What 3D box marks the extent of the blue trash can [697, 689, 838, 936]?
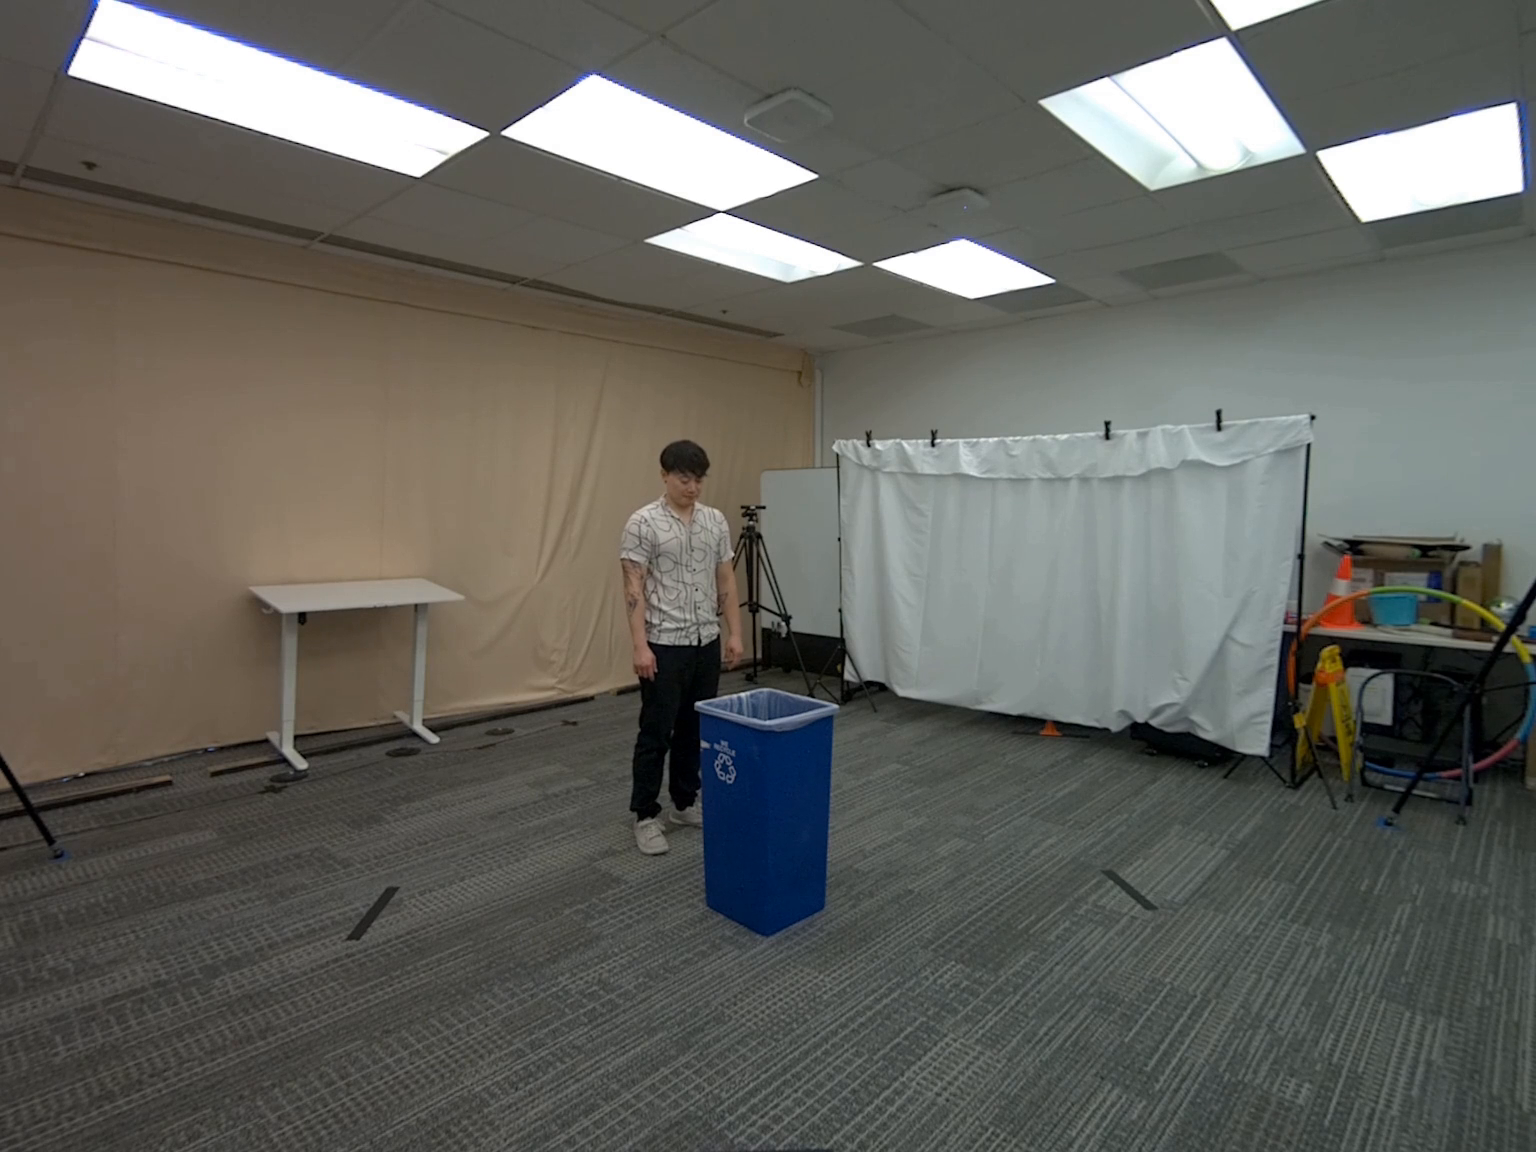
[{"bbox_3d":[-0.004,0.793,2.892,0.362,0.712,0.391,-3,5,-45],"label":"blue trash can"}]
